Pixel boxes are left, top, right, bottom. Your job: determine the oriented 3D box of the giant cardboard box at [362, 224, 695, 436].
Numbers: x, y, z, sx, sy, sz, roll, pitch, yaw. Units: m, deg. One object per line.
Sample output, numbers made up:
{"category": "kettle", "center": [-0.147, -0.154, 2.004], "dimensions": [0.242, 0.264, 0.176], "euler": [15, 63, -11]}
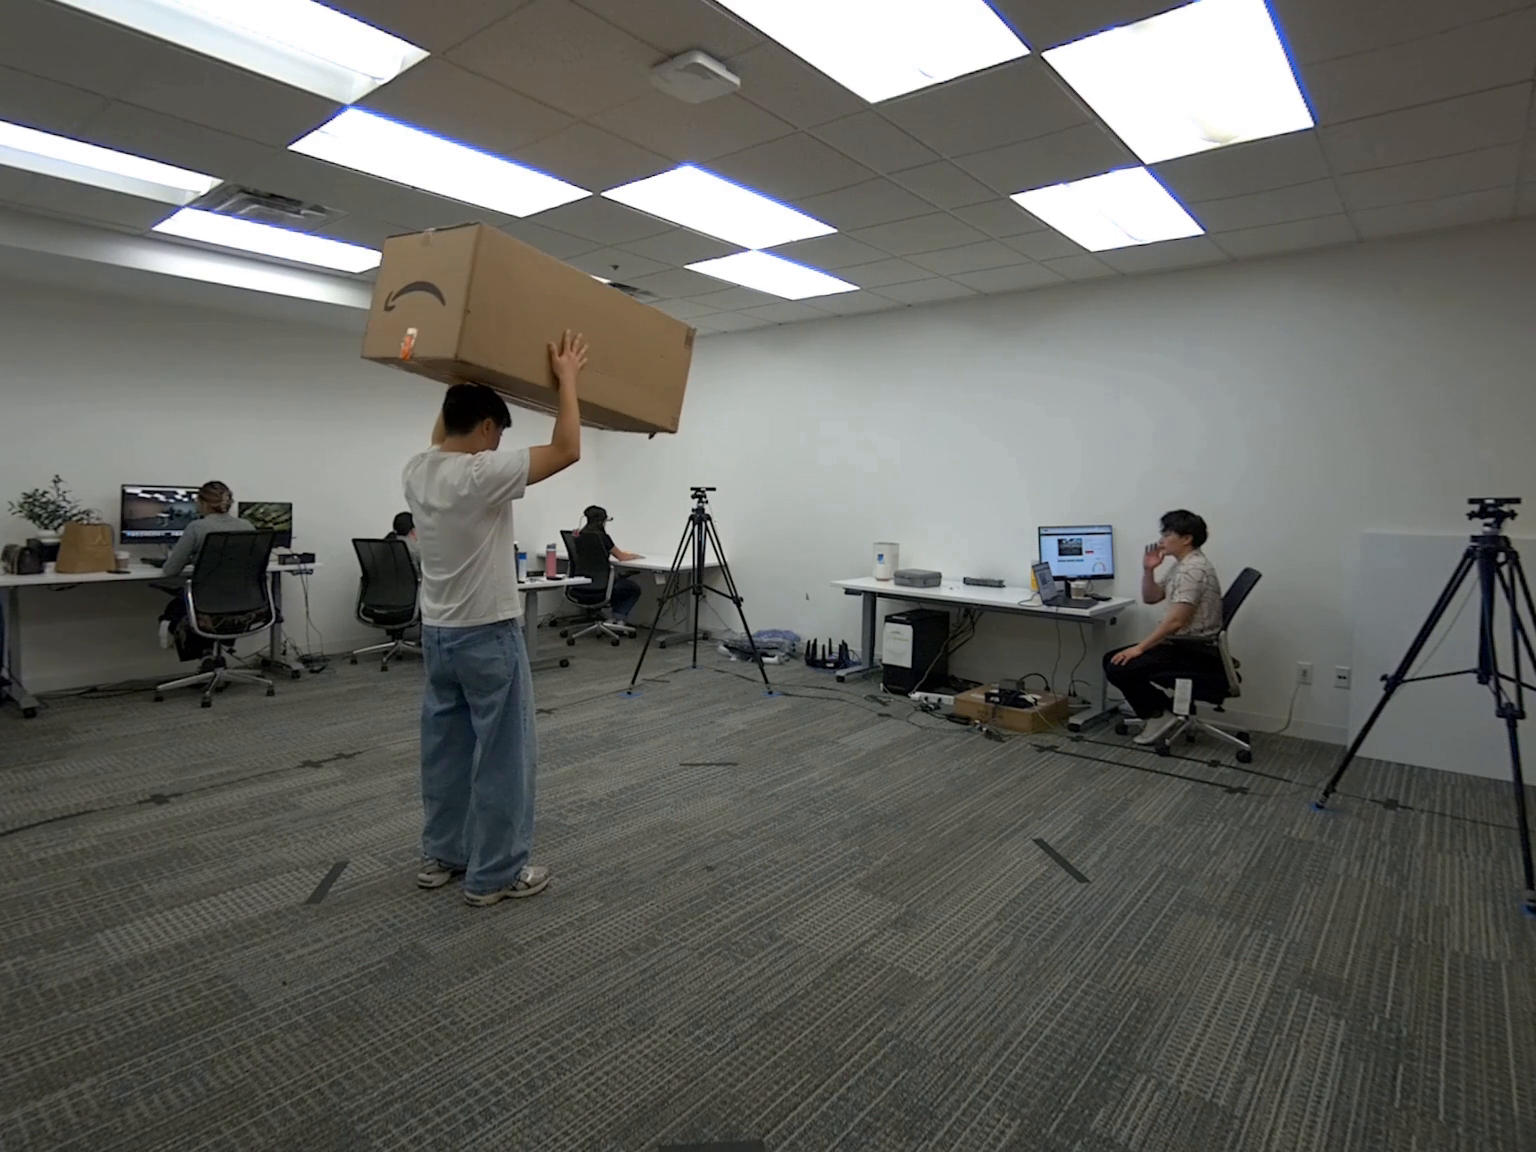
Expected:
{"category": "giant cardboard box", "center": [-0.843, -0.837, 3.117], "dimensions": [0.598, 0.426, 0.989], "euler": [11, 1, 37]}
